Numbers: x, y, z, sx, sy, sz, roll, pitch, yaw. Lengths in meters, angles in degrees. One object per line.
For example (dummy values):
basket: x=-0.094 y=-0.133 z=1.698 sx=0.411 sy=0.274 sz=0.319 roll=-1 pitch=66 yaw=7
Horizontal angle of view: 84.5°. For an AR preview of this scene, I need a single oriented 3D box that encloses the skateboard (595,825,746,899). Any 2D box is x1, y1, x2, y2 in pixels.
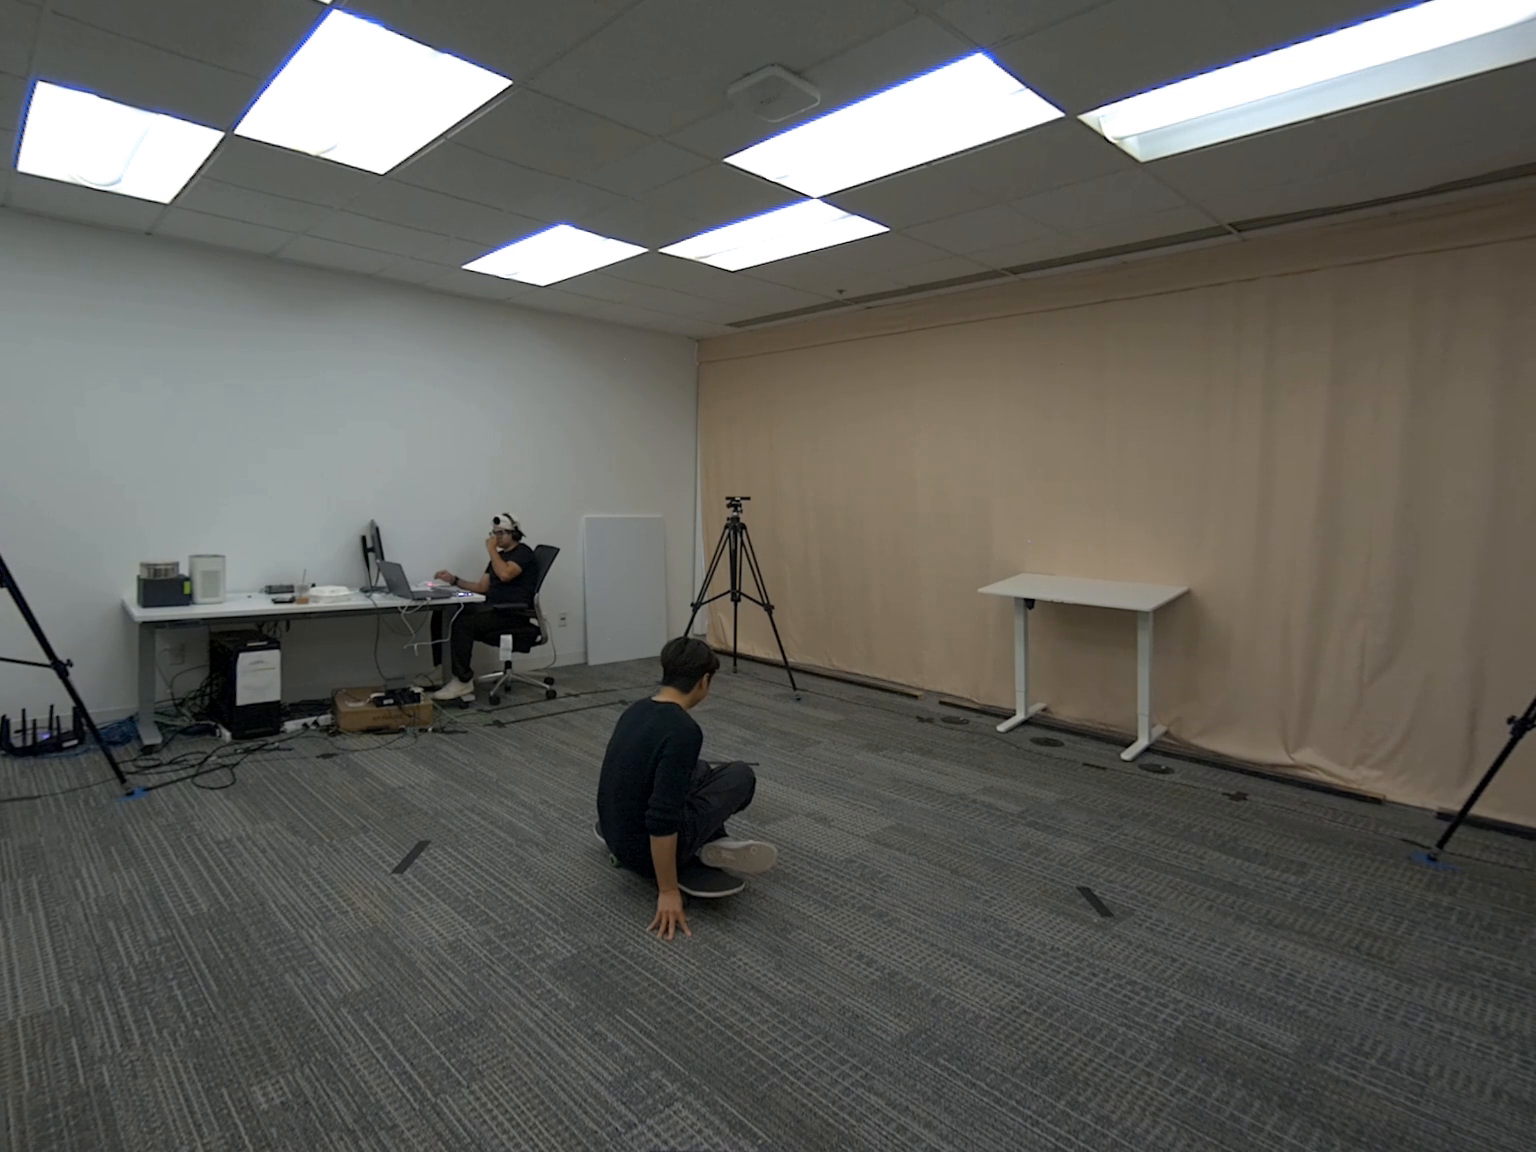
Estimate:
skateboard: x=-0.397 y=1.063 z=3.068 sx=0.189 sy=0.110 sz=0.806 roll=-2 pitch=7 yaw=-41
